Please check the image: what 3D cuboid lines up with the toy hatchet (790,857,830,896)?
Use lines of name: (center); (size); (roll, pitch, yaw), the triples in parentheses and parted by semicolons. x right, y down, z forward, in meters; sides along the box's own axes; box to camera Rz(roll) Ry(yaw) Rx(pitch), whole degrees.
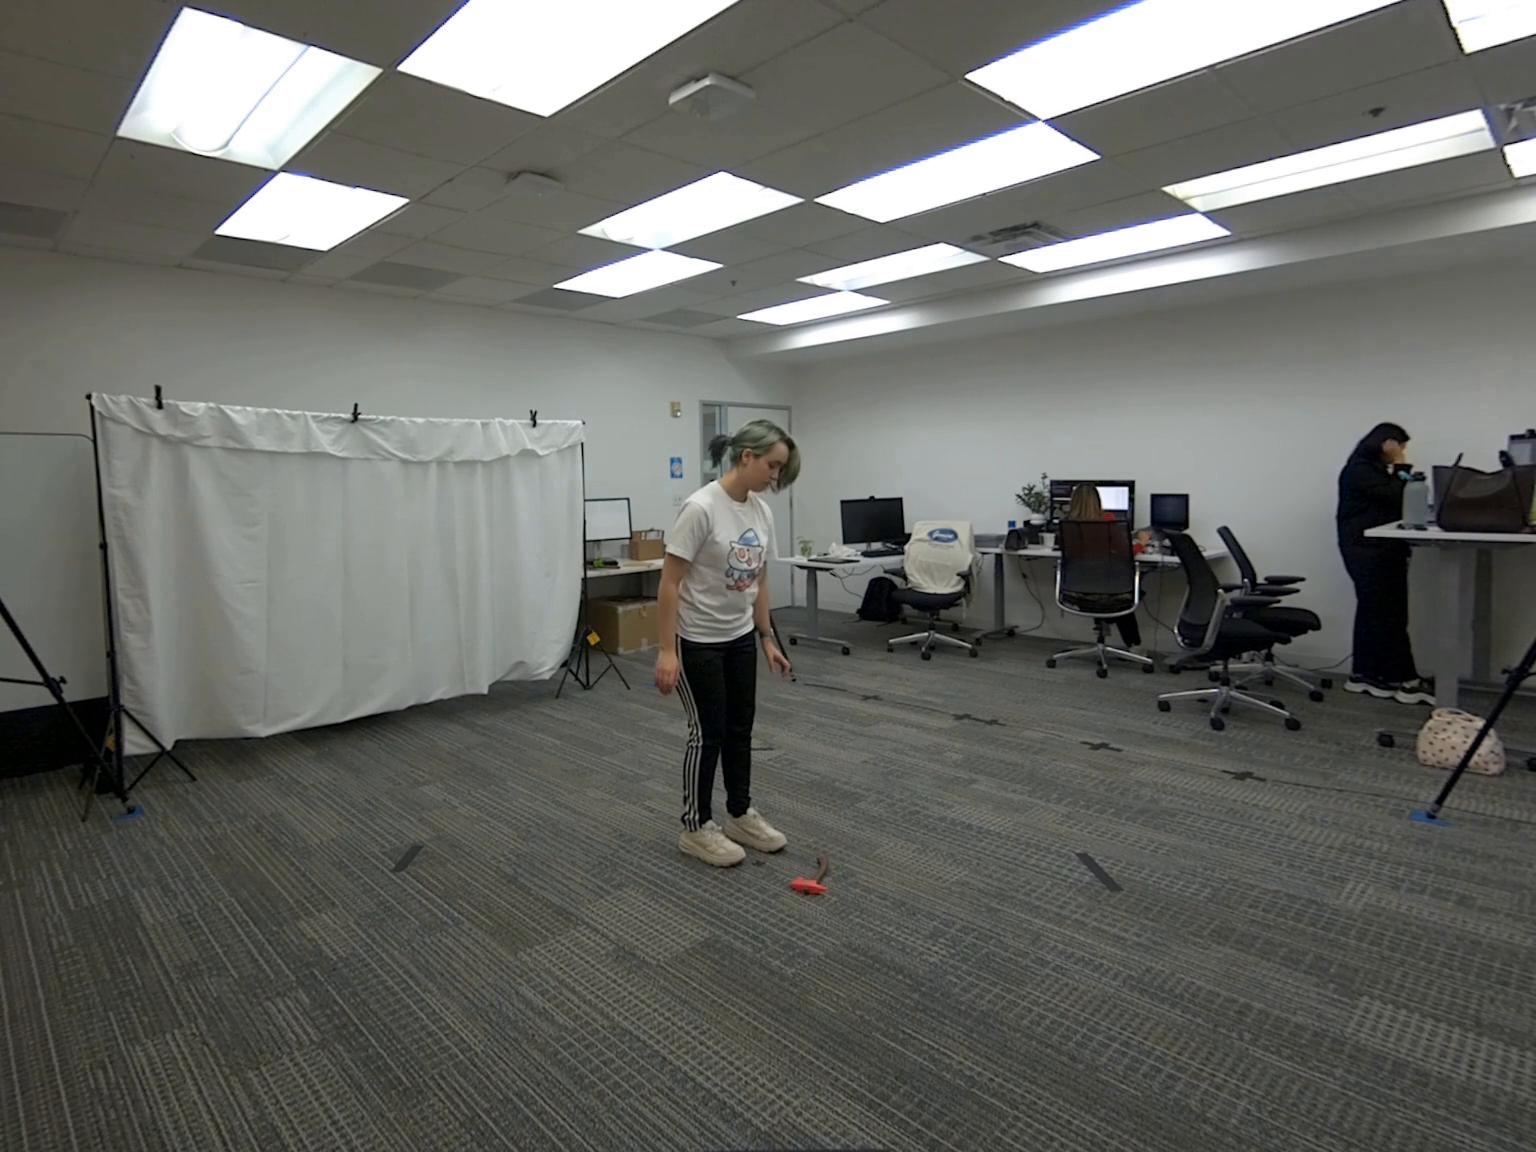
toy hatchet: (0.147, 1.050, 2.996); (0.132, 0.029, 0.268); (-5, 3, 6)
